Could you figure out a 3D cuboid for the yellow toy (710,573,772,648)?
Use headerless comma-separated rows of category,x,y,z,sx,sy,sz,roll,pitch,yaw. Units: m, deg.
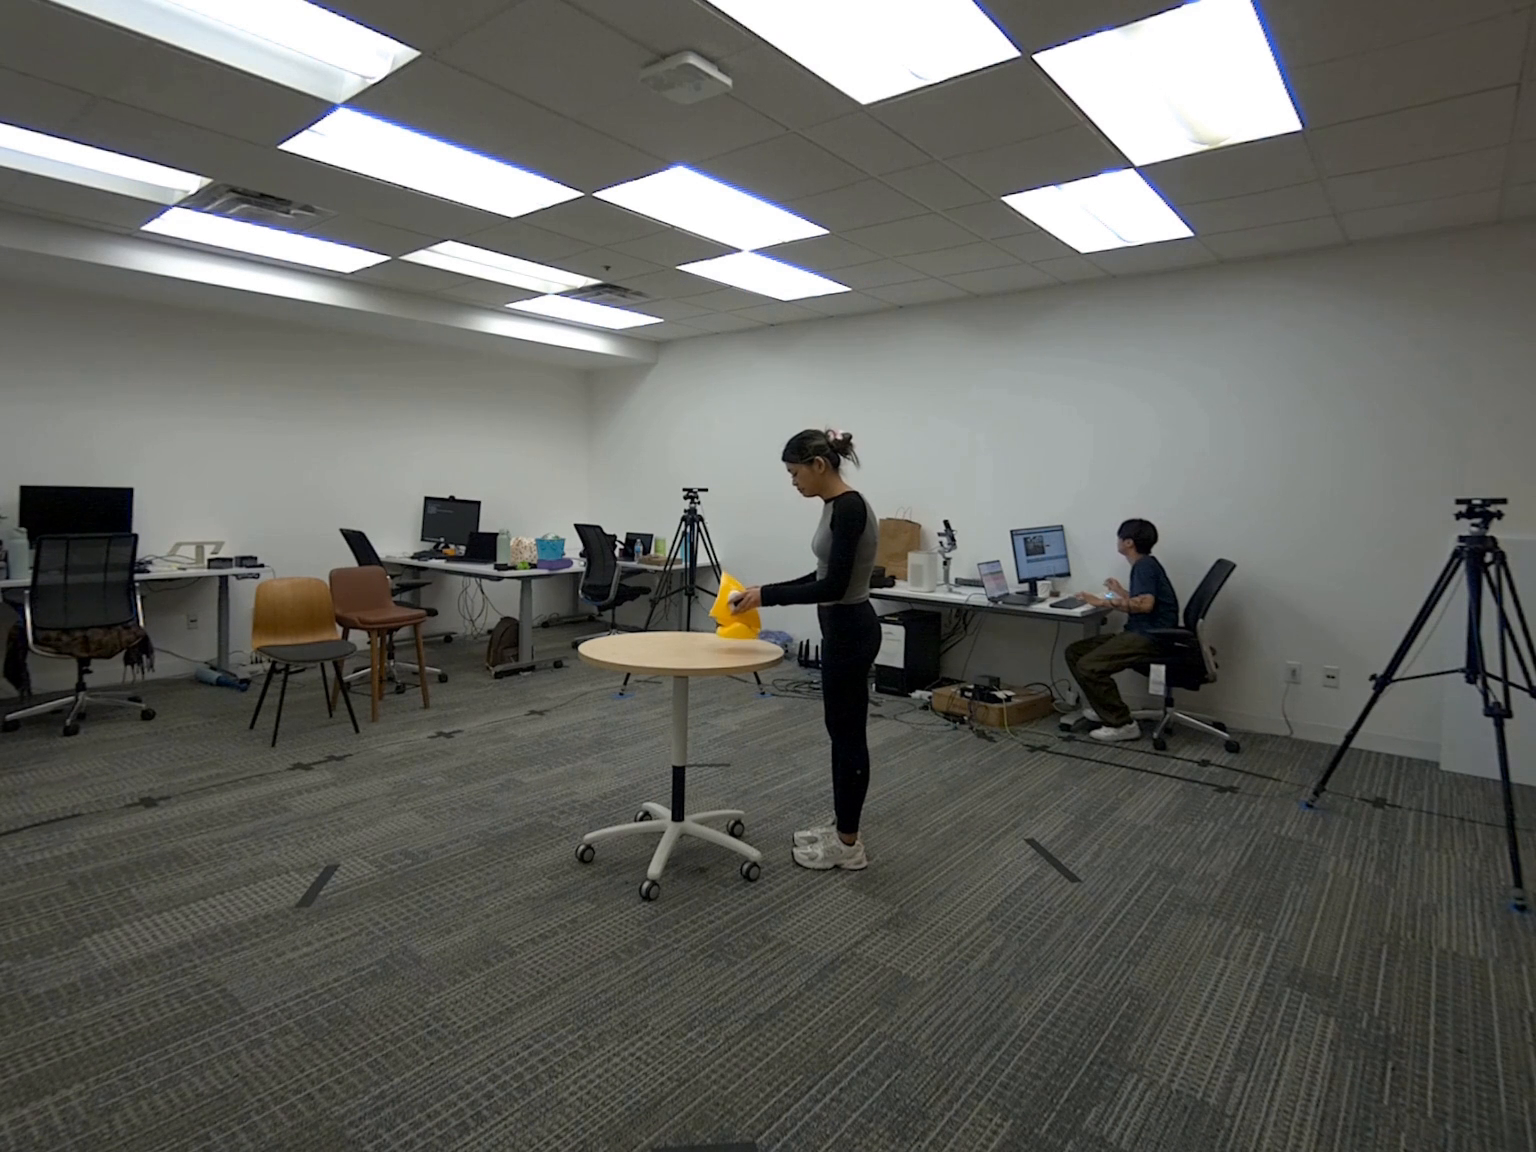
yellow toy,-0.123,0.099,3.158,0.194,0.230,0.204,3,5,5
